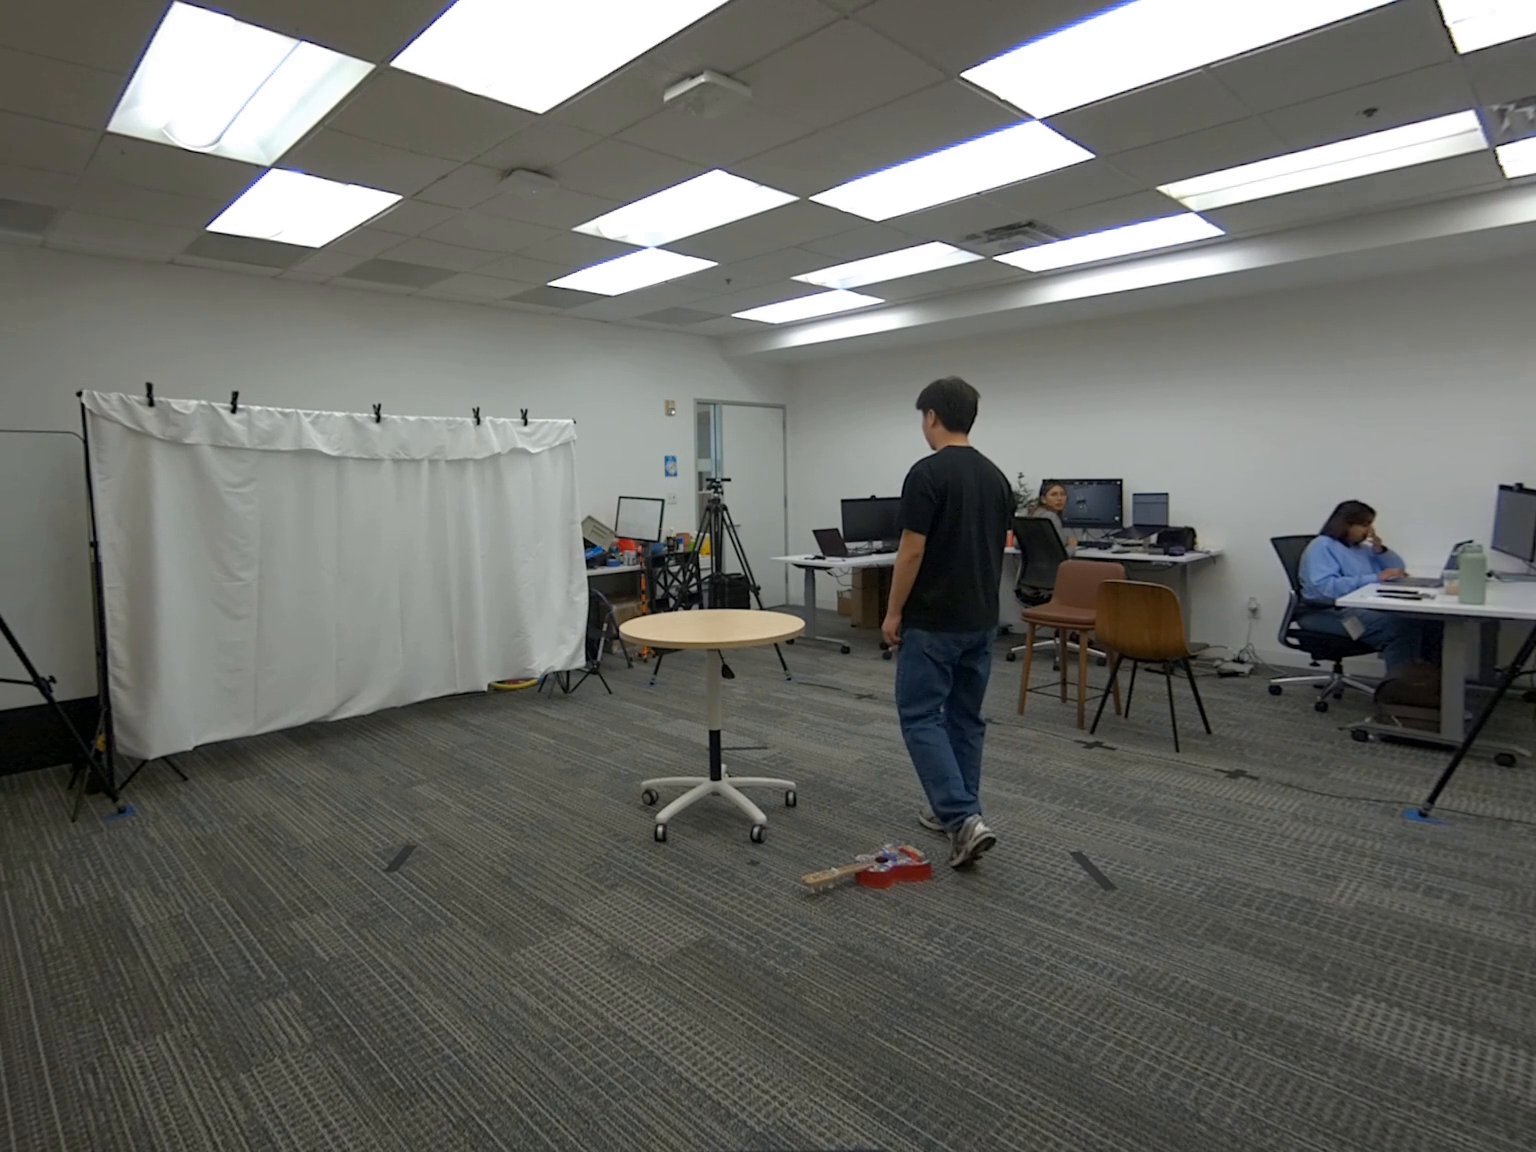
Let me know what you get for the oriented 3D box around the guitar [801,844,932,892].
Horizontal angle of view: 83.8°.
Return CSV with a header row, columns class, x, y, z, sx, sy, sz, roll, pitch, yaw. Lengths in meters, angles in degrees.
class,x,y,z,sx,sy,sz,roll,pitch,yaw
guitar,0.327,1.018,2.971,0.489,0.070,0.197,-3,7,-20
